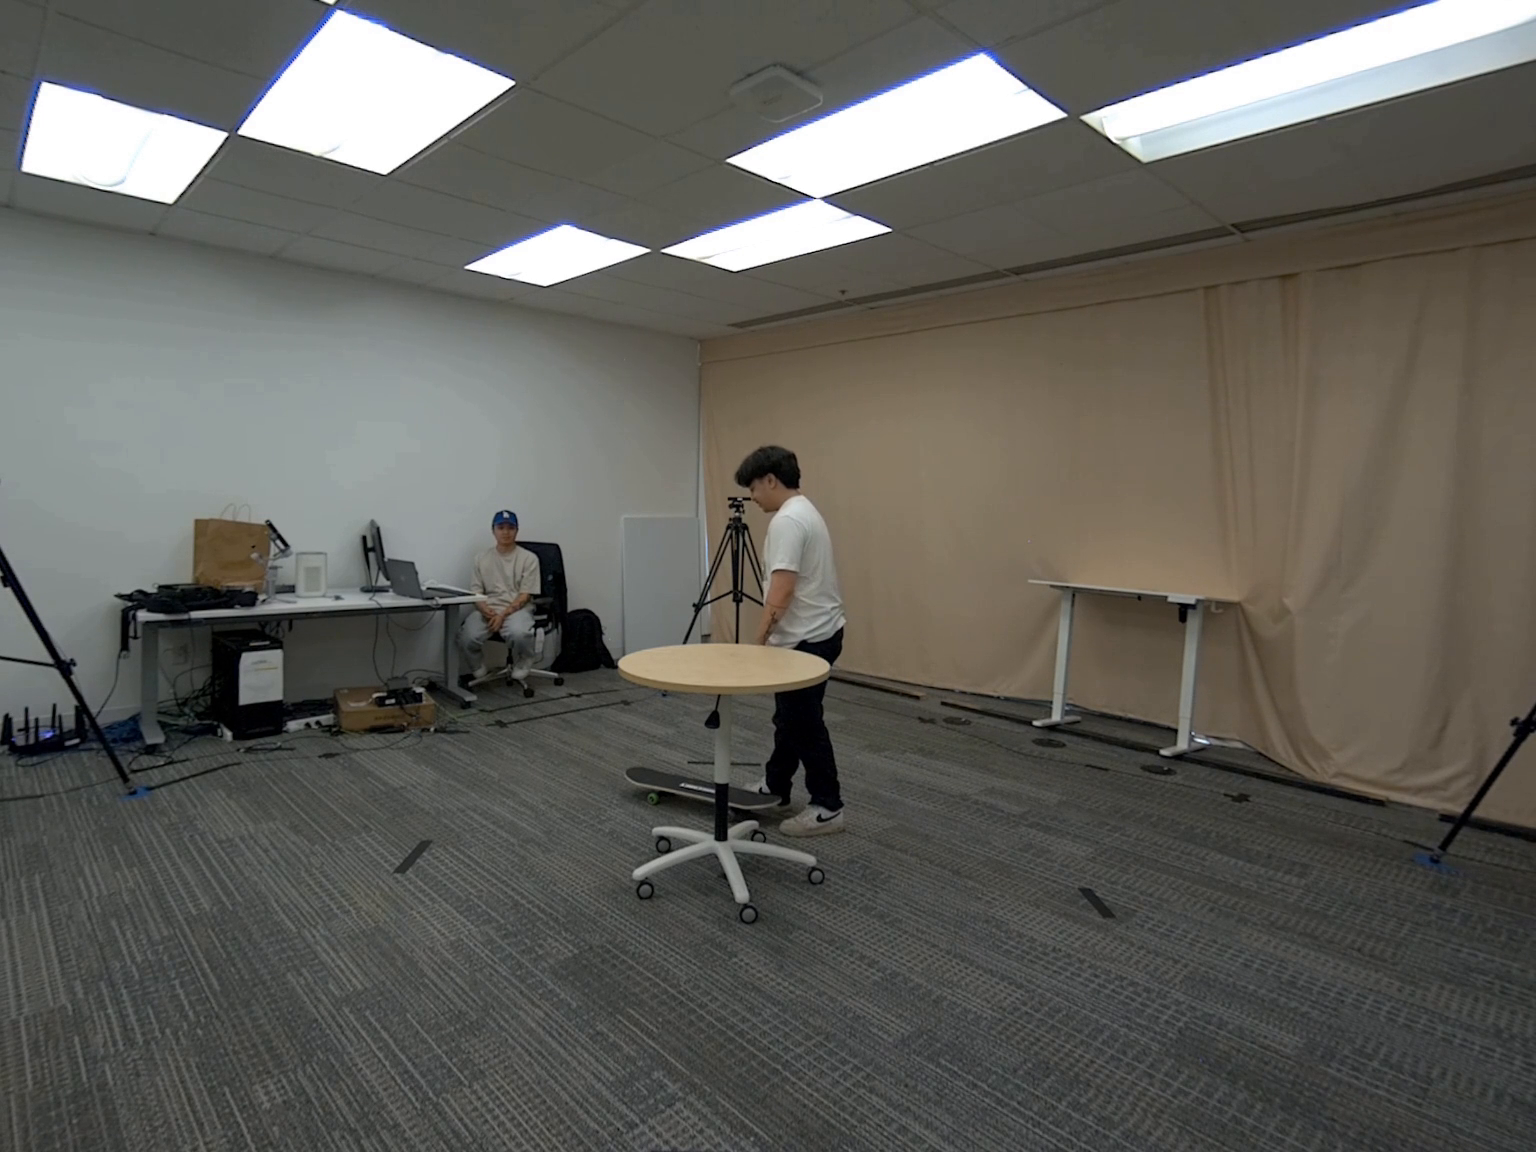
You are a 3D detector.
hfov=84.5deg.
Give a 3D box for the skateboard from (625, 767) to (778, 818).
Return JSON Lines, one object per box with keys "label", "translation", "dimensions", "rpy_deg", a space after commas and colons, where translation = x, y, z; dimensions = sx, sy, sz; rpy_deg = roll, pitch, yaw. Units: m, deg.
{"label": "skateboard", "translation": [-0.314, 0.982, 3.791], "dimensions": [0.802, 0.110, 0.190], "rpy_deg": [5, 5, 28]}
